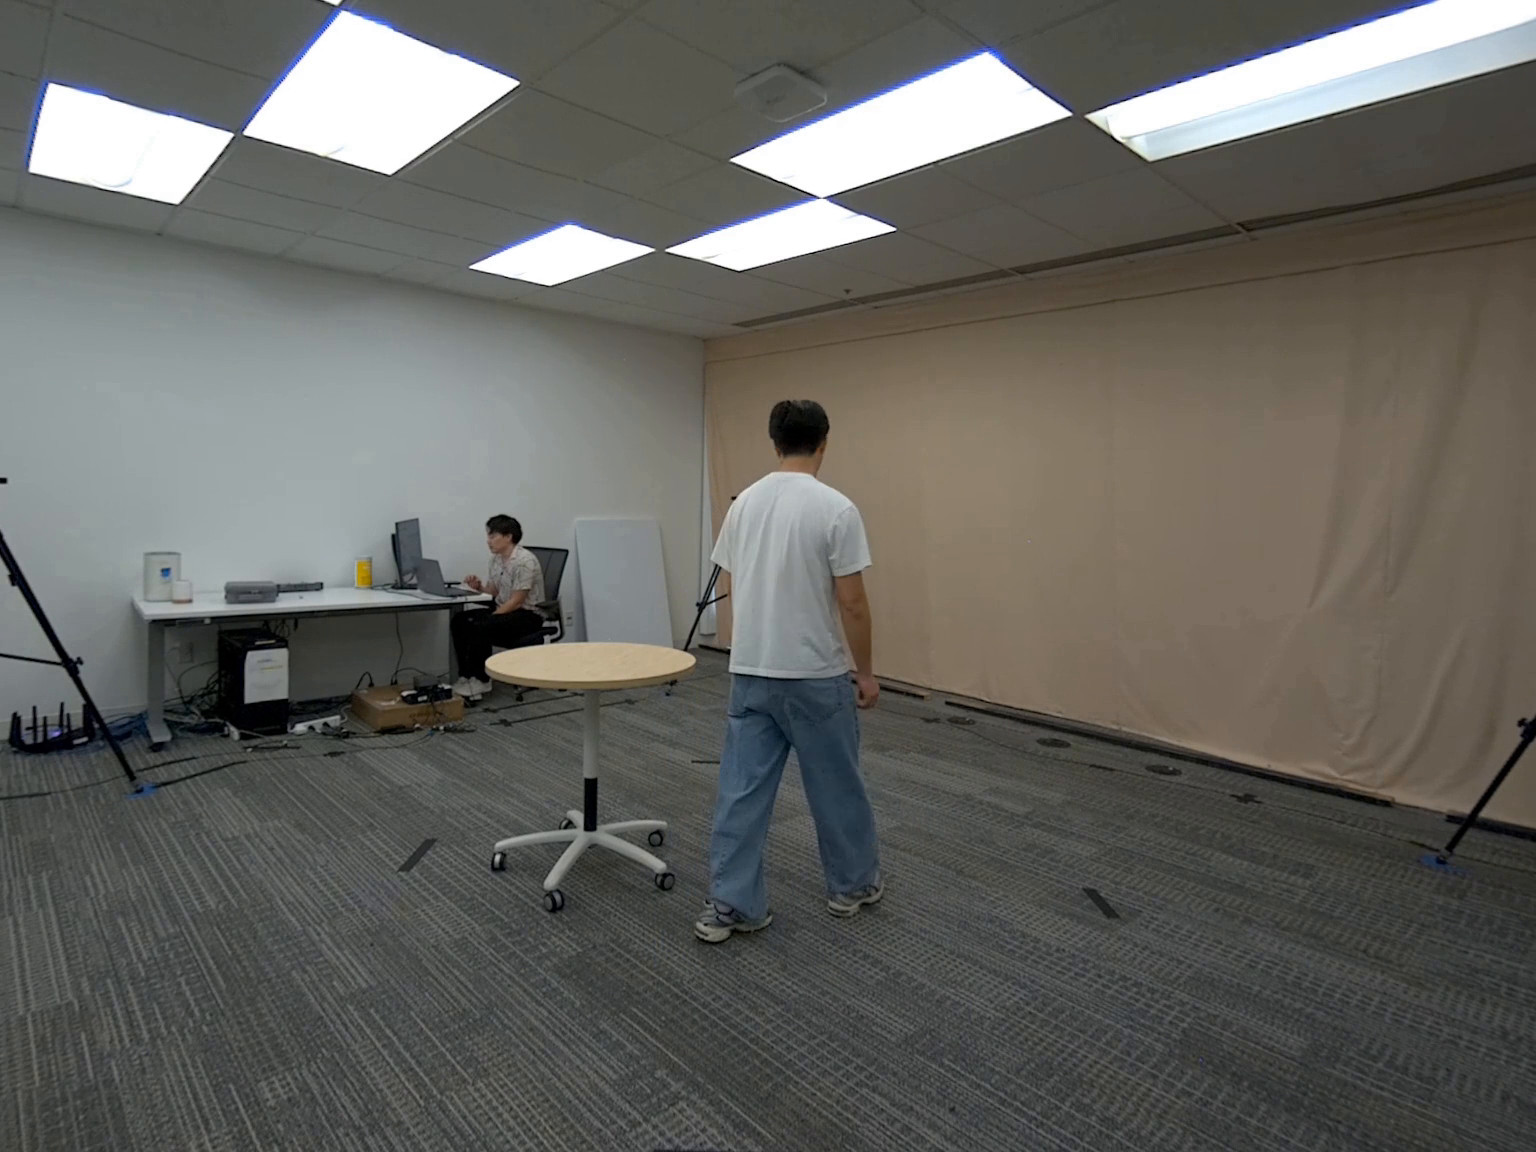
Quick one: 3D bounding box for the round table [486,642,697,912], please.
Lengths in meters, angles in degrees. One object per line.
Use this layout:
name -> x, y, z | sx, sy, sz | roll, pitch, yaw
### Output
round table -> -0.668, 0.697, 3.150 | 0.784, 0.784, 0.788 | 1, 4, -1
